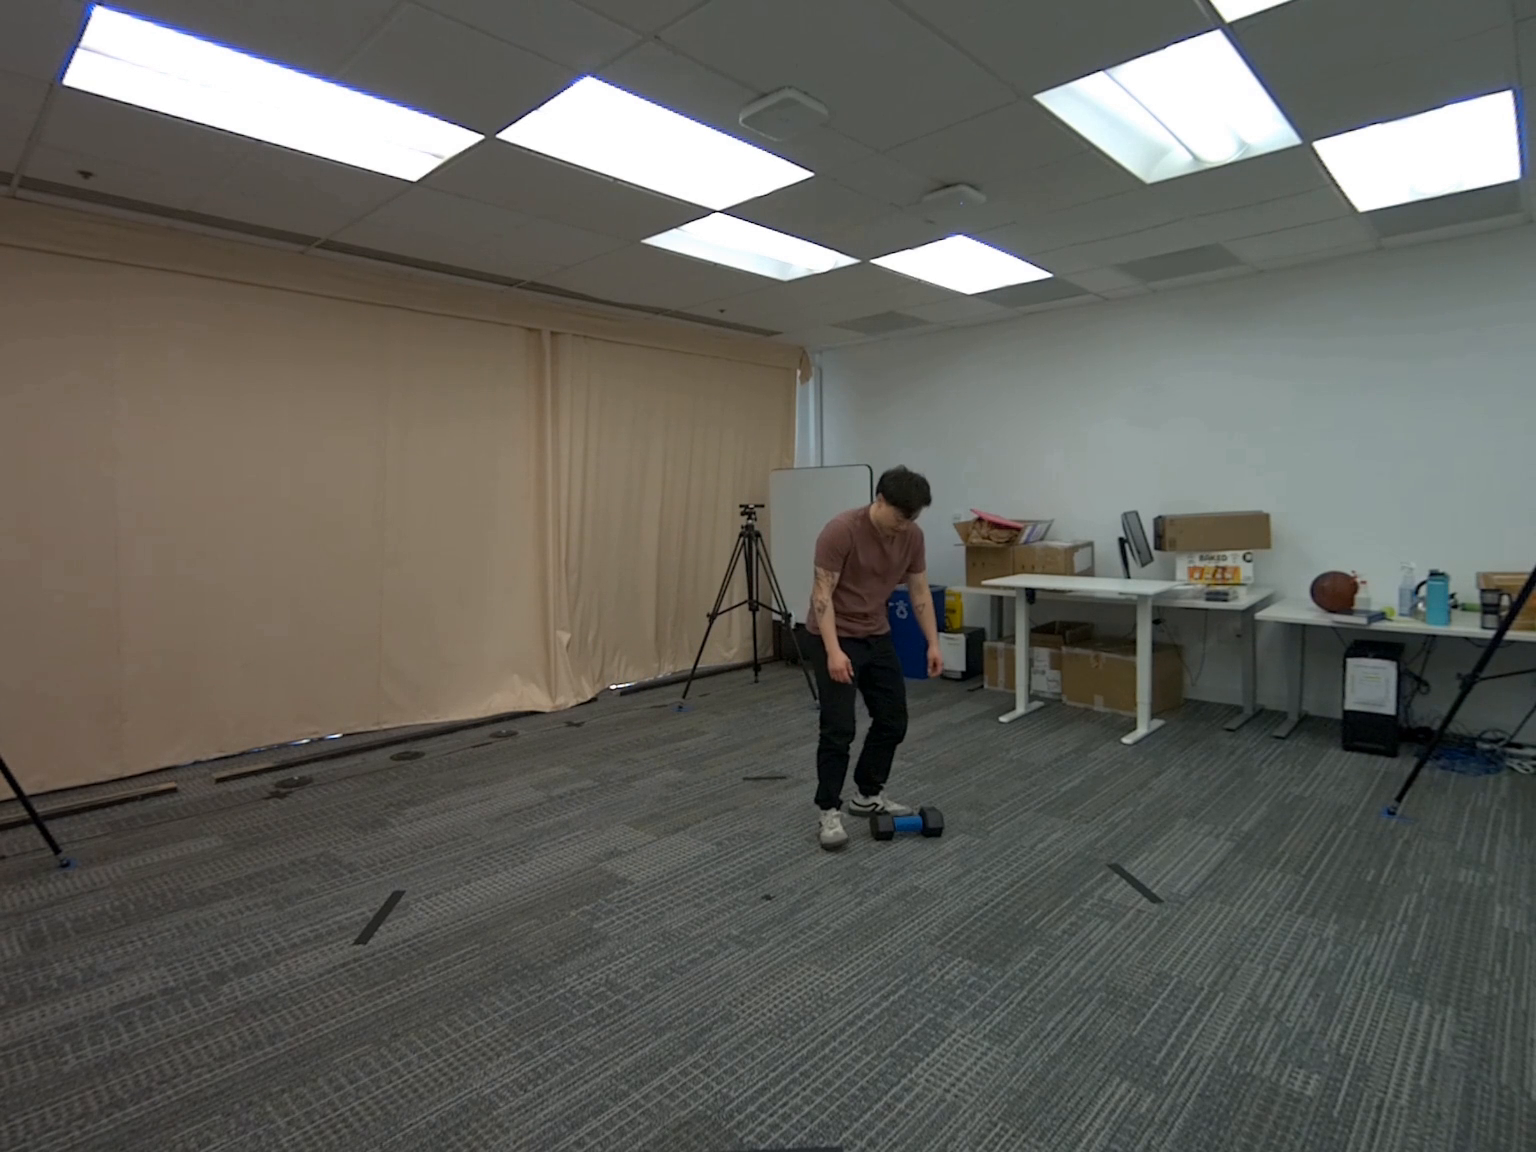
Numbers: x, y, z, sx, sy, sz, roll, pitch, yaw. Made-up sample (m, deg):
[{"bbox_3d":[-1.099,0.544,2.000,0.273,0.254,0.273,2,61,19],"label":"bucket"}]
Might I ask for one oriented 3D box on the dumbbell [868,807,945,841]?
[{"bbox_3d":[0.590,1.037,3.511,0.292,0.108,0.124,-2,2,-6],"label":"dumbbell"}]
